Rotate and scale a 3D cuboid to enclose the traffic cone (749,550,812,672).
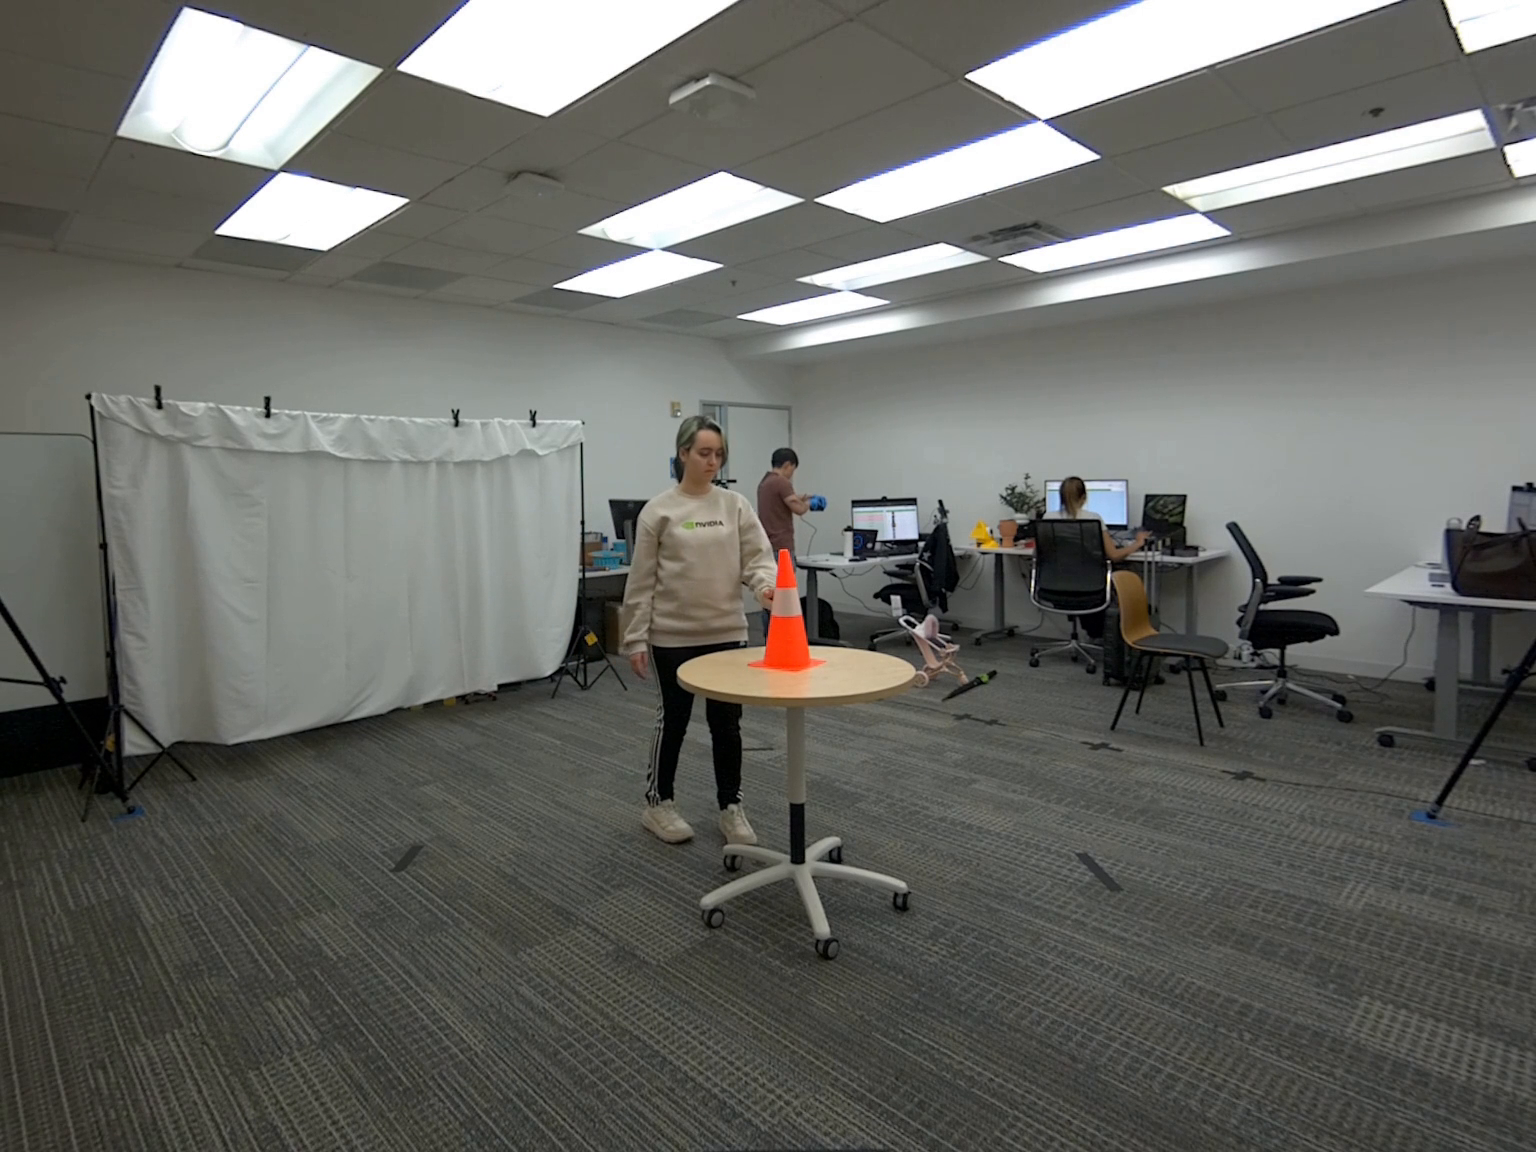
[{"bbox_3d":[0.063,0.106,2.834,0.209,0.383,0.200,0,4,34],"label":"traffic cone"}]
